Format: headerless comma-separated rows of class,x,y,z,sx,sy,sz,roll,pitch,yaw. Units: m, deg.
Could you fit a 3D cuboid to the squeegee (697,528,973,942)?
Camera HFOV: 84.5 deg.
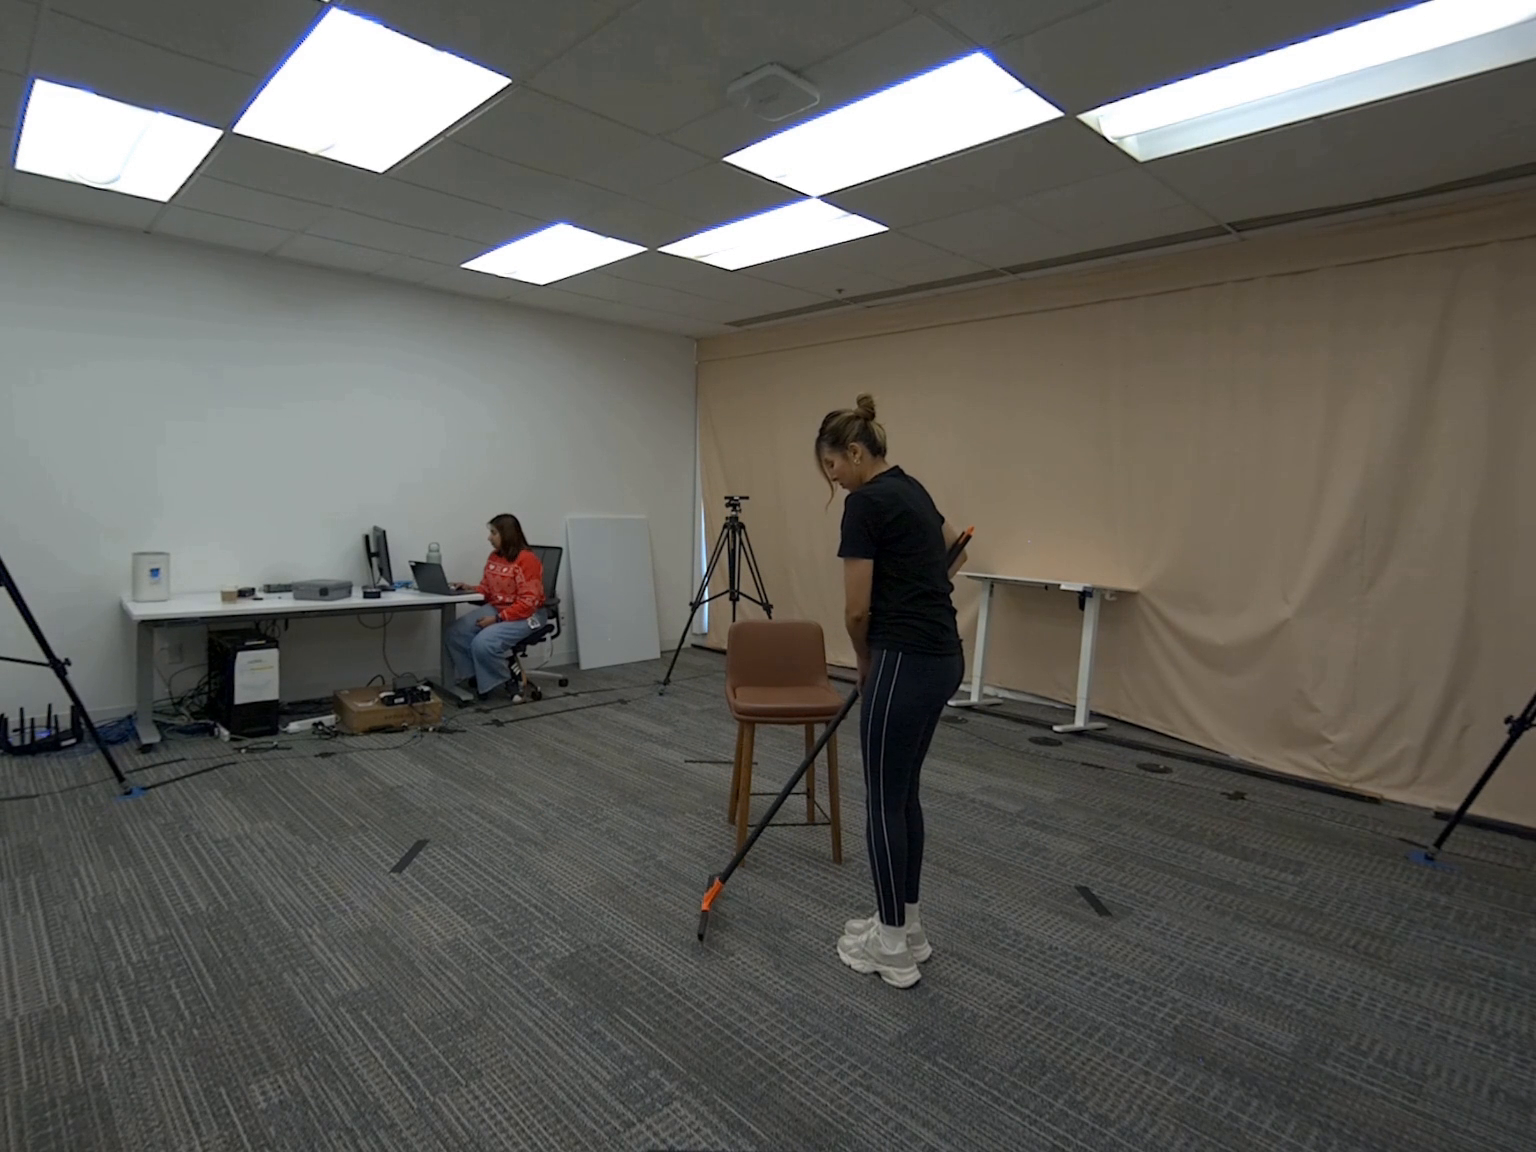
squeegee,0.189,0.474,2.720,0.053,1.536,0.438,35,3,-3
